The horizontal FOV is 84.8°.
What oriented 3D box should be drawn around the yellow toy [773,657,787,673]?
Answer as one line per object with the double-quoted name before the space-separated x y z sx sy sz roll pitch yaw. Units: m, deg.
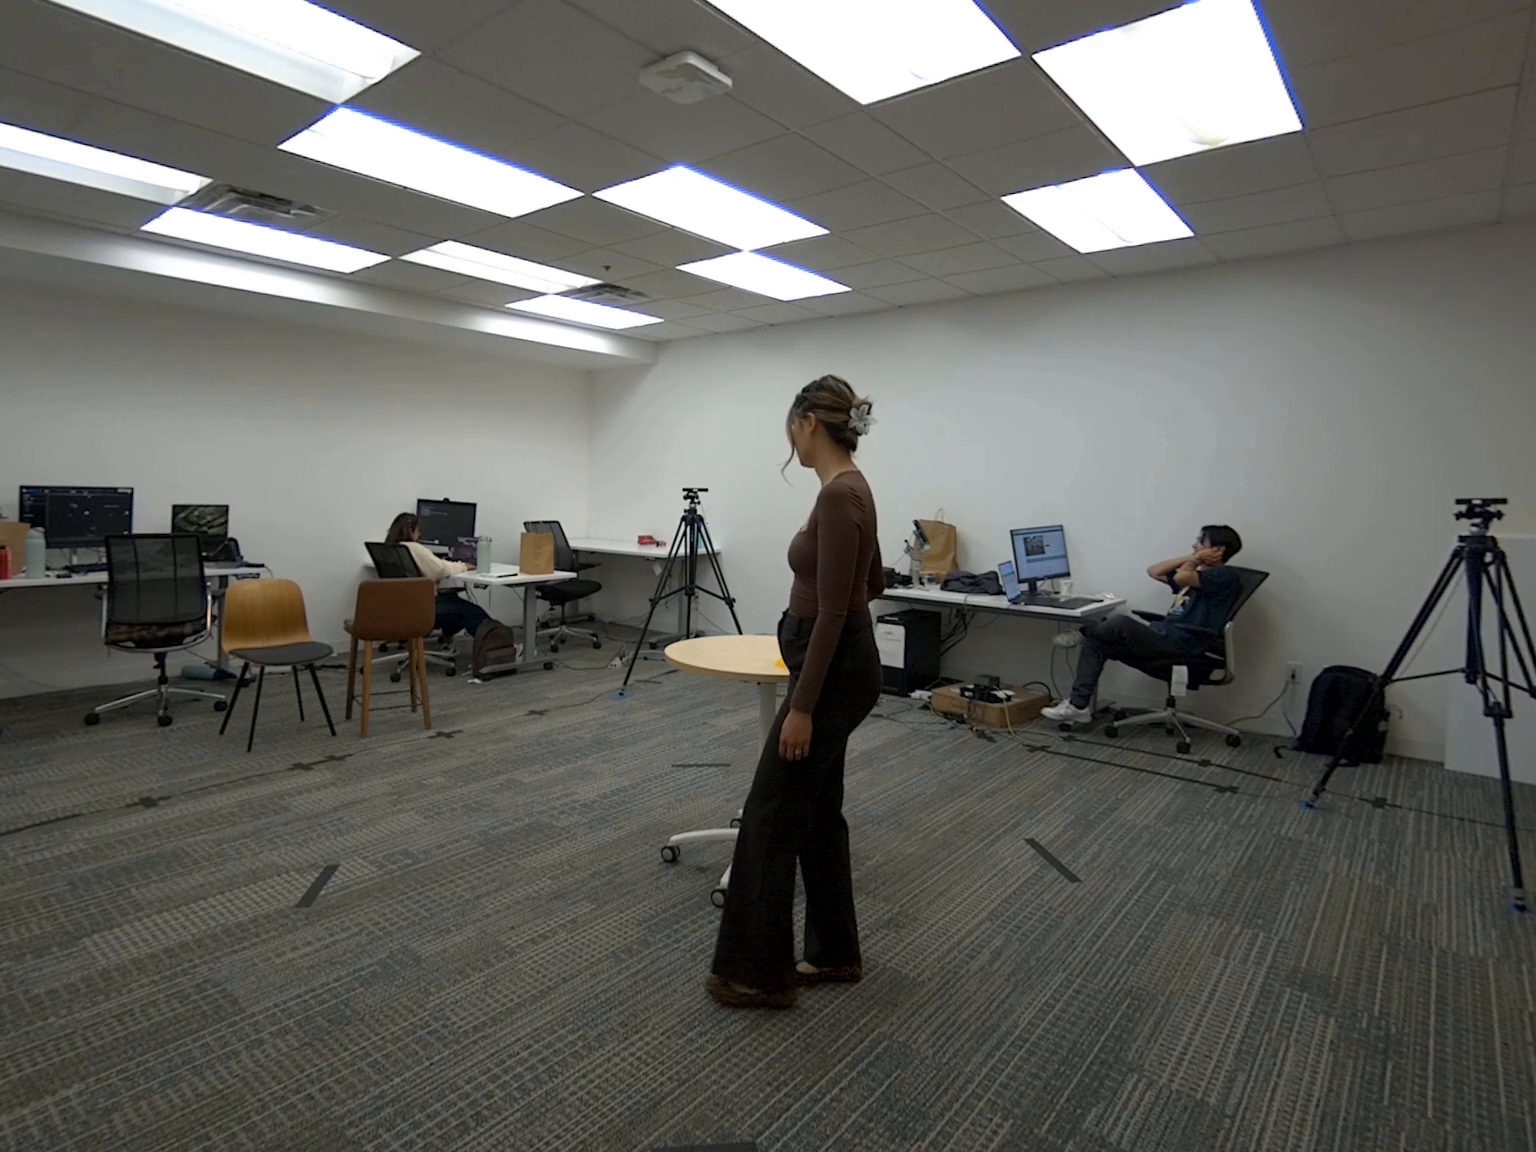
"yellow toy" 0.128 0.185 2.903 0.198 0.230 0.200 3 4 27
